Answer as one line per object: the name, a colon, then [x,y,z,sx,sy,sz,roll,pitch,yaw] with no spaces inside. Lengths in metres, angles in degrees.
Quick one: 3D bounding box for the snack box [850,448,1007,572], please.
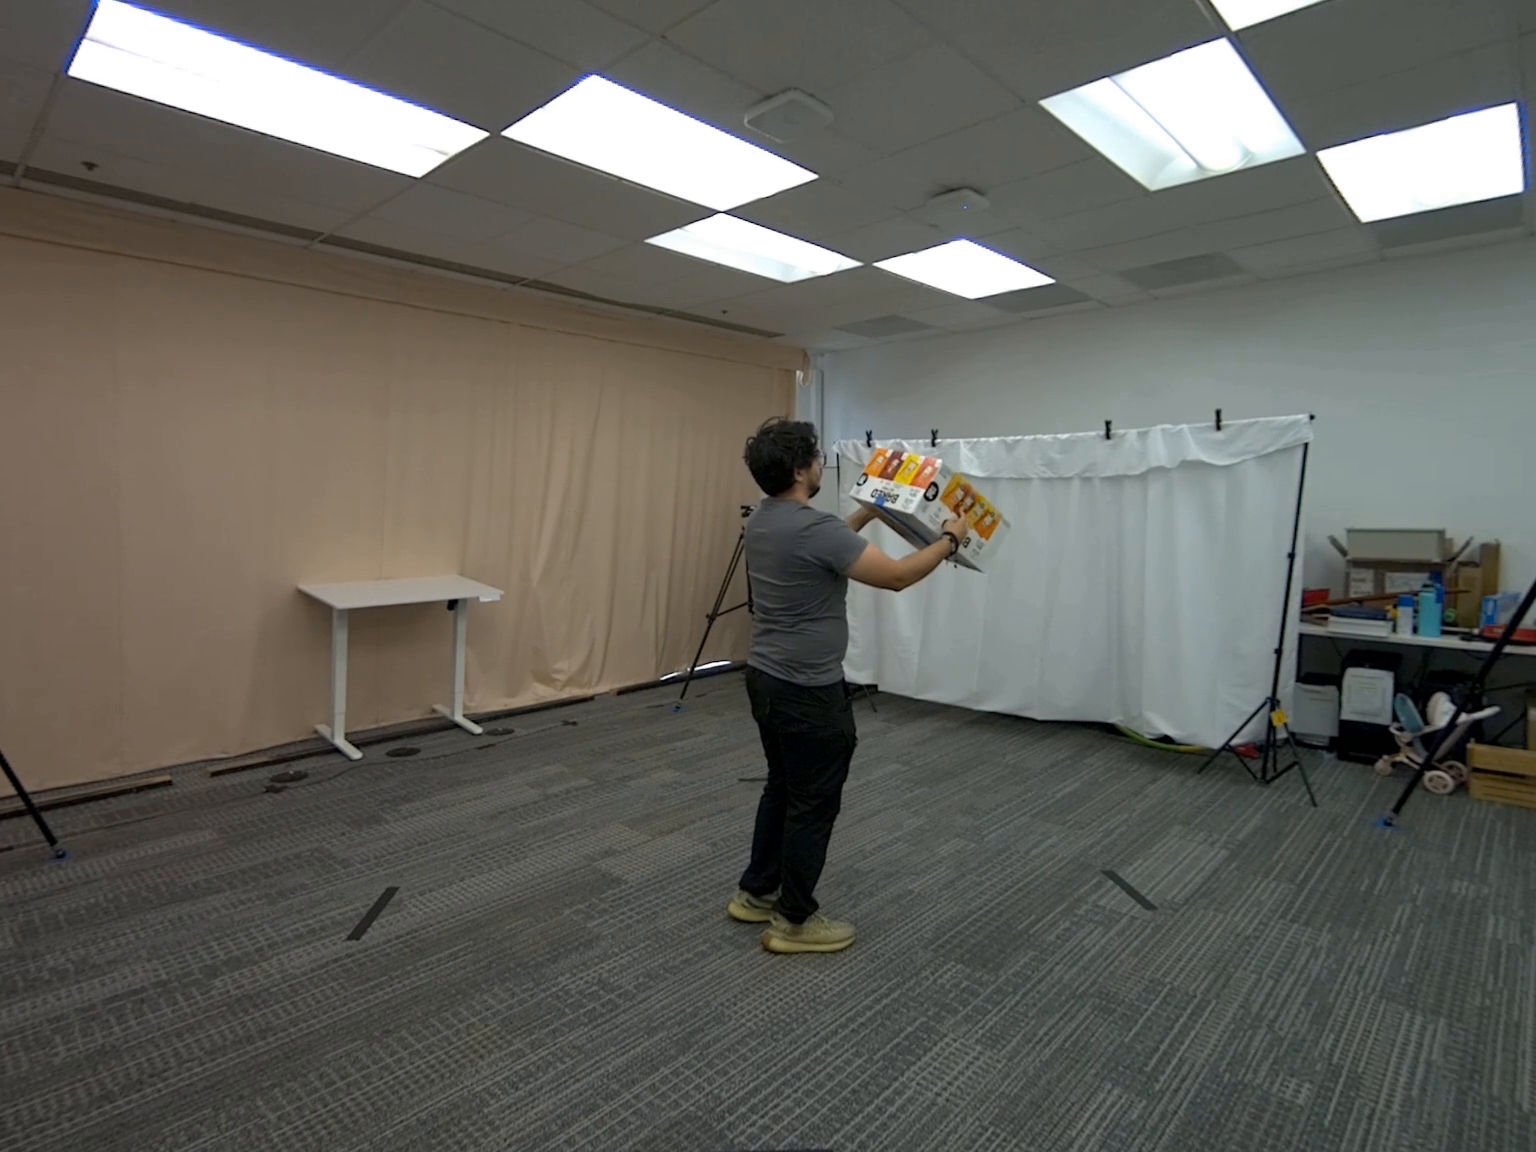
snack box: [0.563,-0.225,2.889,0.392,0.205,0.352,34,-3,-32]
